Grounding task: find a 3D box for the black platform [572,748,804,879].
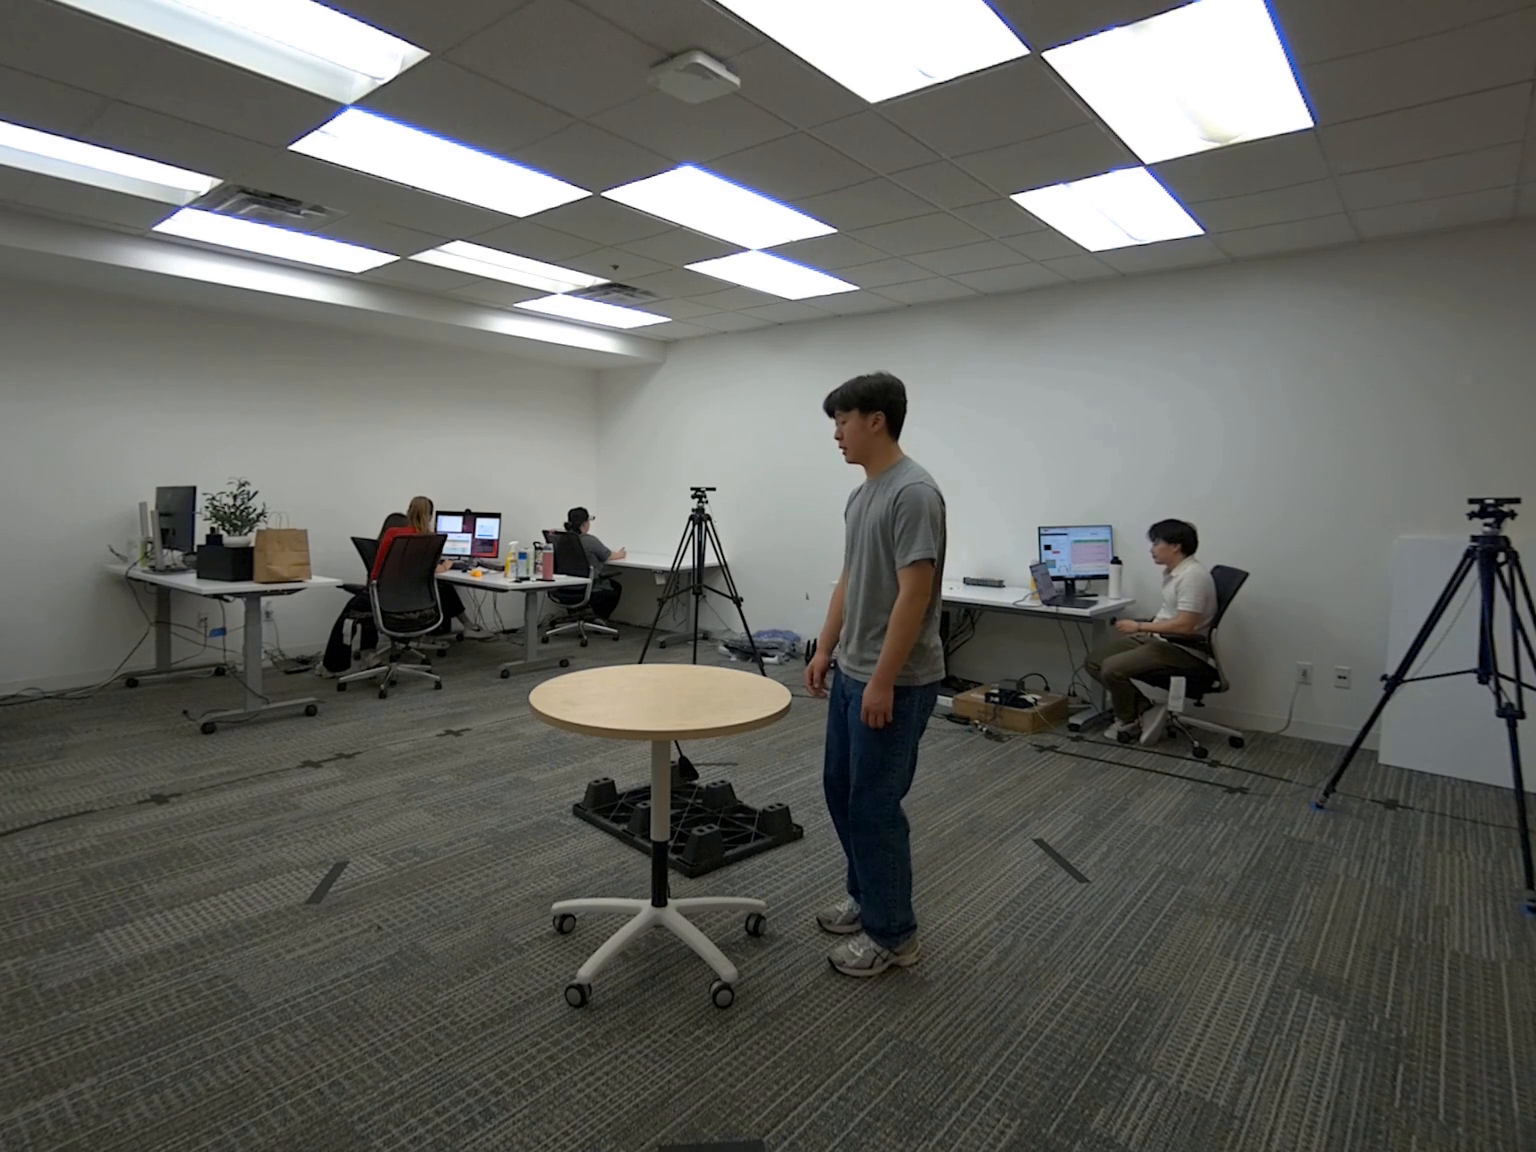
[{"bbox_3d":[-0.358,0.959,3.504,0.587,0.143,0.833,-4,7,-44],"label":"black platform"}]
